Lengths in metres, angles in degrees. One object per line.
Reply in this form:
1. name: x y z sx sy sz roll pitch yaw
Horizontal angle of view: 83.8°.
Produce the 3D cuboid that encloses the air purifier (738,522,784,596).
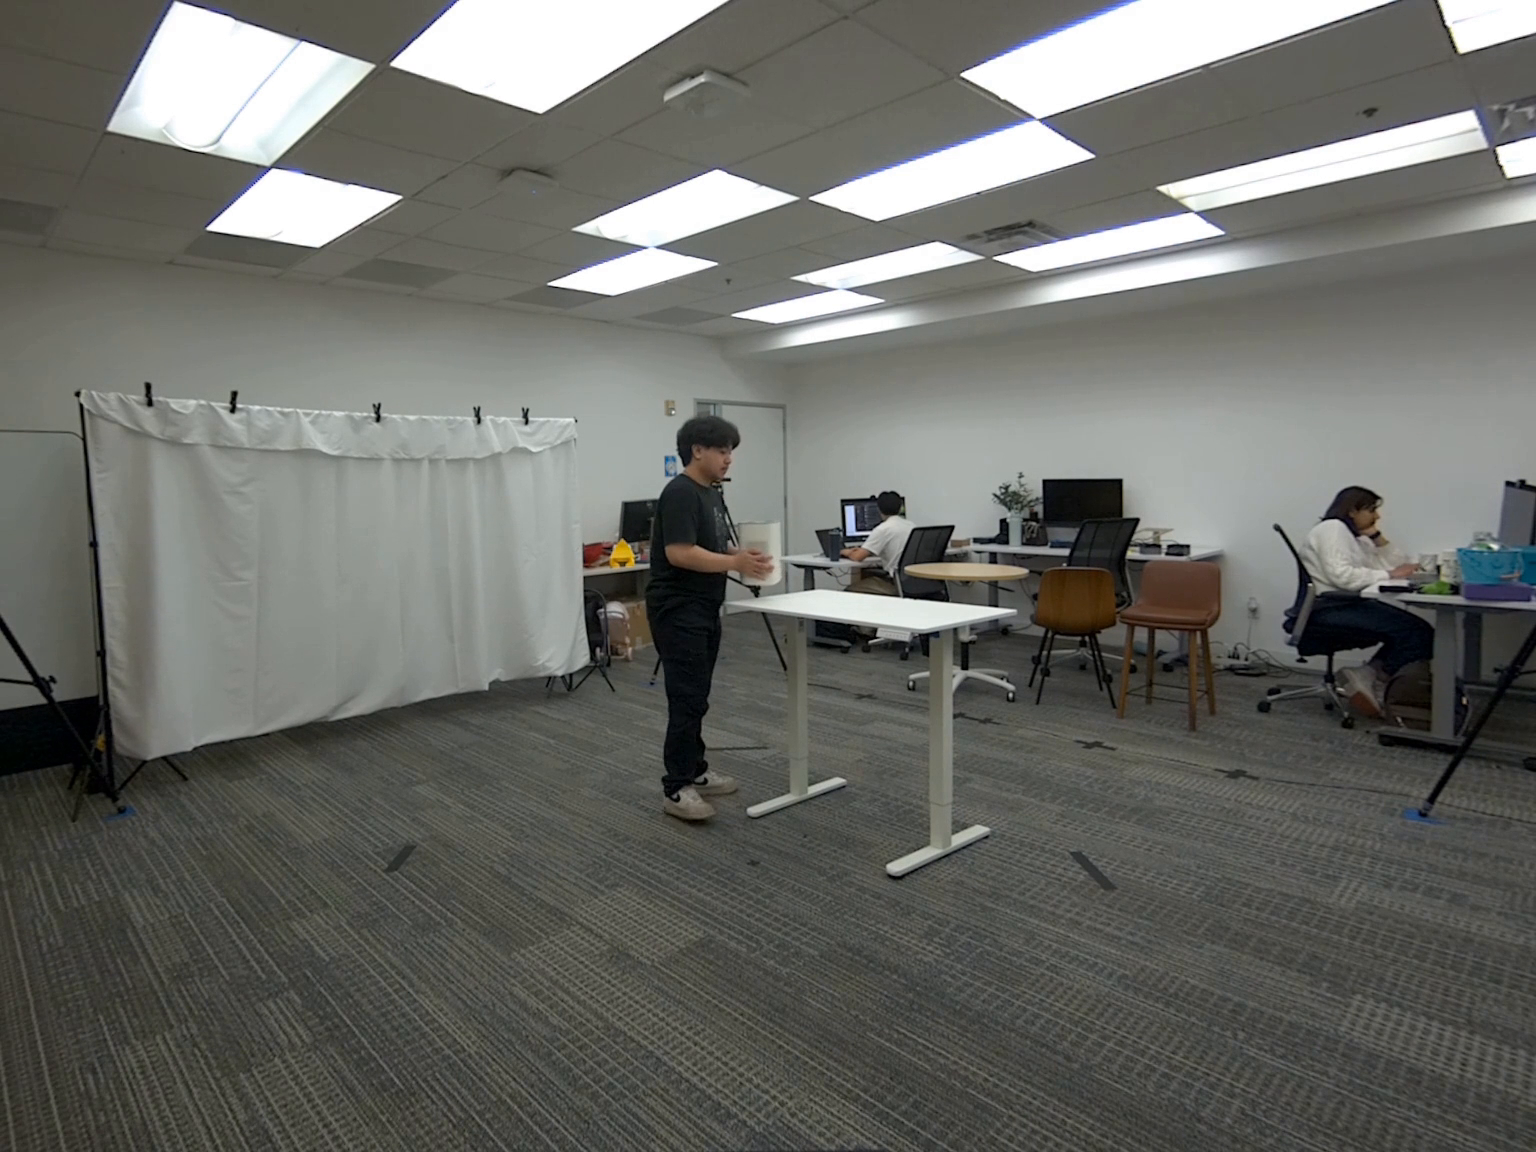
1. air purifier: -0.039 -0.098 3.625 0.173 0.264 0.170 -1 5 9
